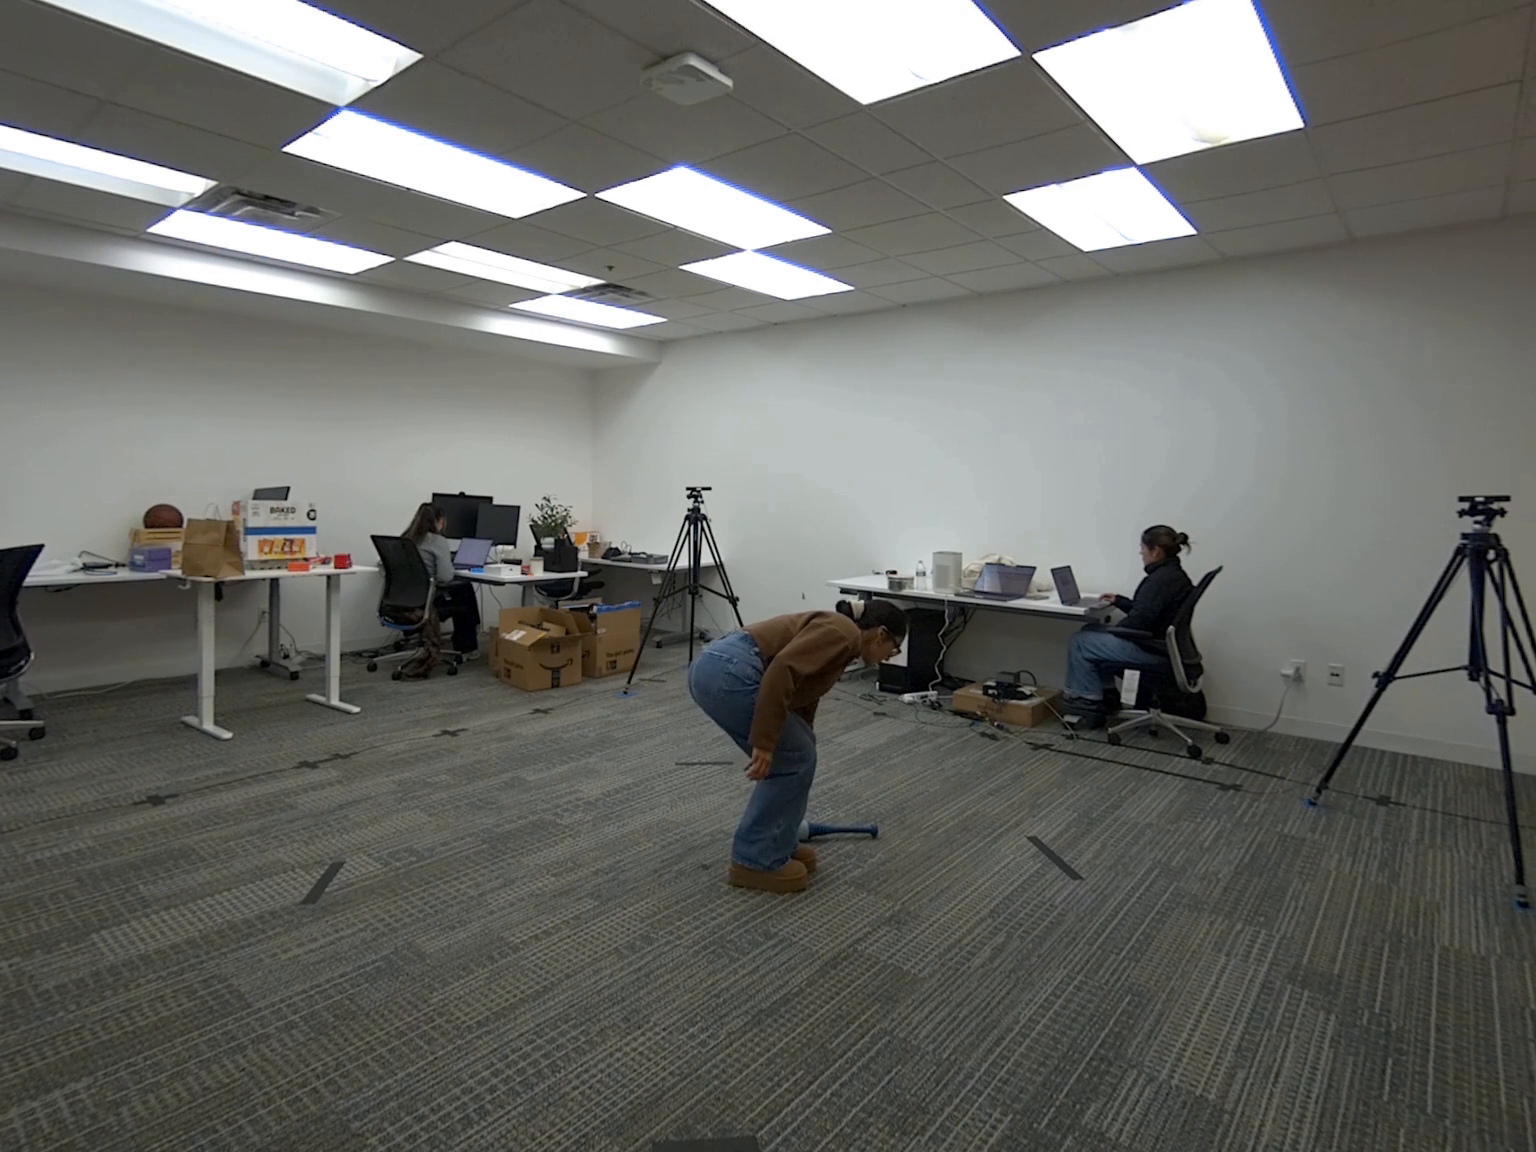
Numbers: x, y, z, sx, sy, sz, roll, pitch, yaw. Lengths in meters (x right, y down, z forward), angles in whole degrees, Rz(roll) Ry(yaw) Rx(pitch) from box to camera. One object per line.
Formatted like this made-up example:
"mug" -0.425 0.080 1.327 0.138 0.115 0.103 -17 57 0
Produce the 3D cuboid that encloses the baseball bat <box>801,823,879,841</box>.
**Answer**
"baseball bat" 0.170 1.006 3.385 0.538 0.089 0.090 1 4 -7
